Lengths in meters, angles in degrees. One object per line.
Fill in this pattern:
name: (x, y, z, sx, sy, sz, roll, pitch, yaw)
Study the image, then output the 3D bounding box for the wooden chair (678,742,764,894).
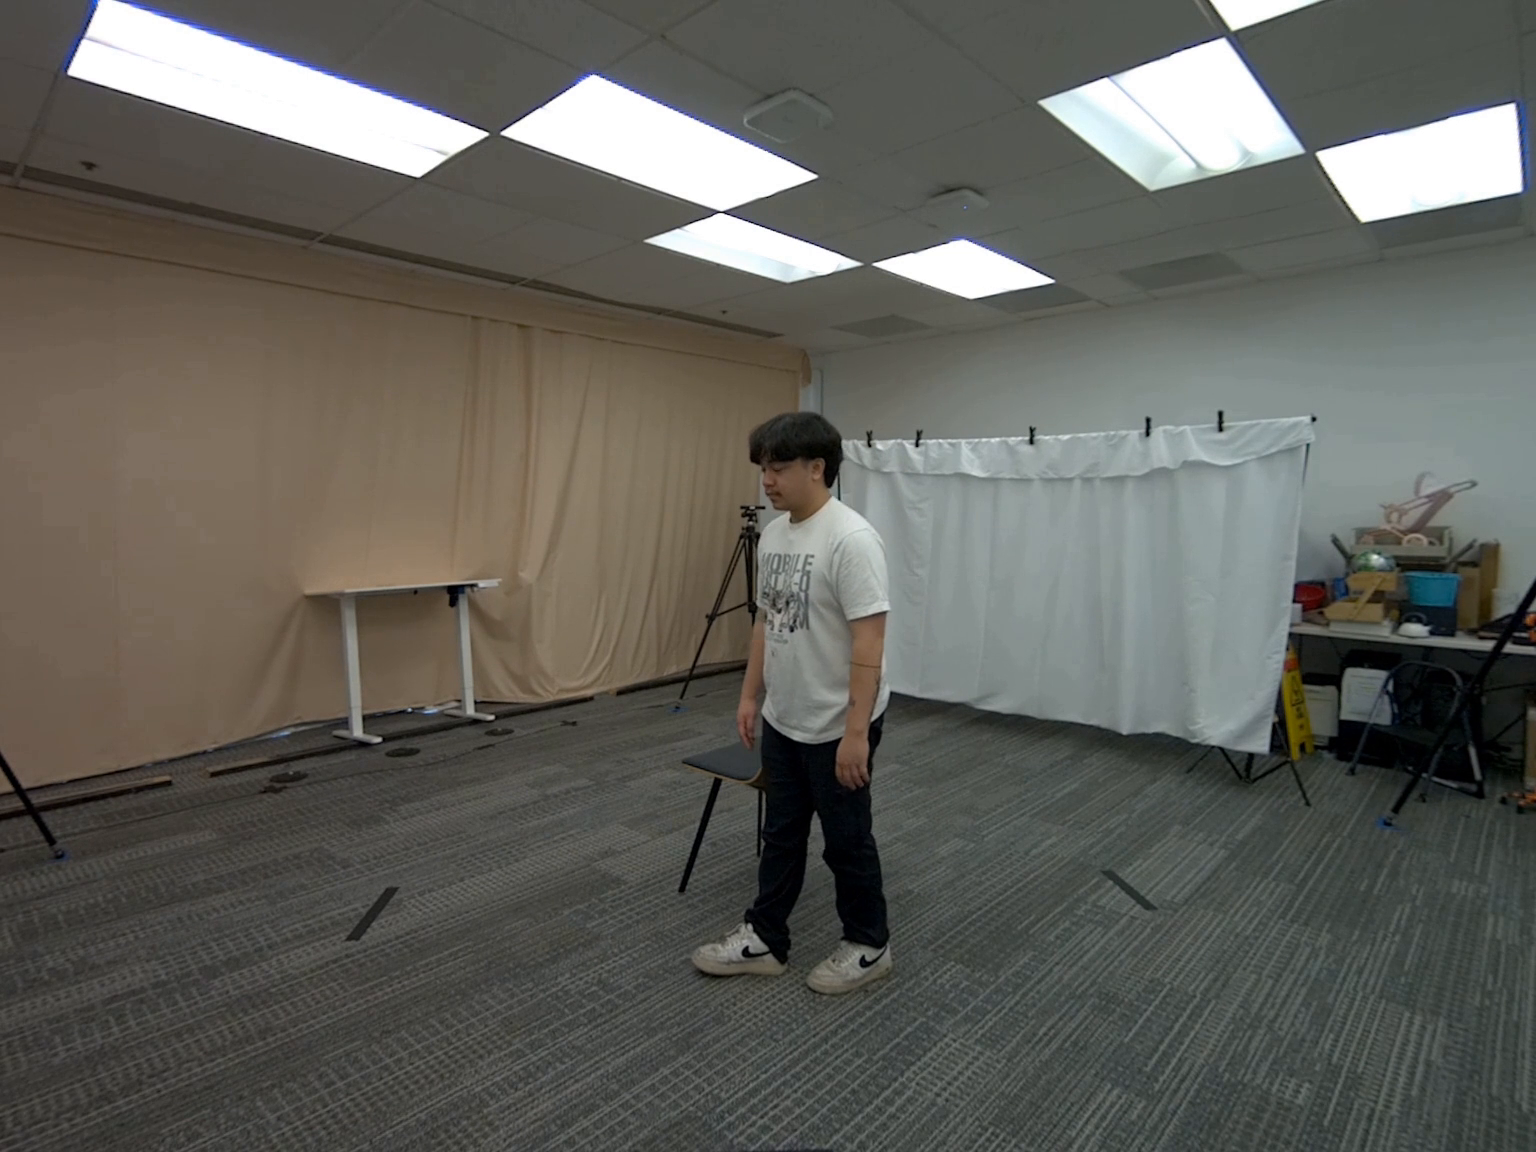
wooden chair: (-0.012, 0.714, 3.025, 0.541, 0.874, 0.463, 8, 8, 41)
